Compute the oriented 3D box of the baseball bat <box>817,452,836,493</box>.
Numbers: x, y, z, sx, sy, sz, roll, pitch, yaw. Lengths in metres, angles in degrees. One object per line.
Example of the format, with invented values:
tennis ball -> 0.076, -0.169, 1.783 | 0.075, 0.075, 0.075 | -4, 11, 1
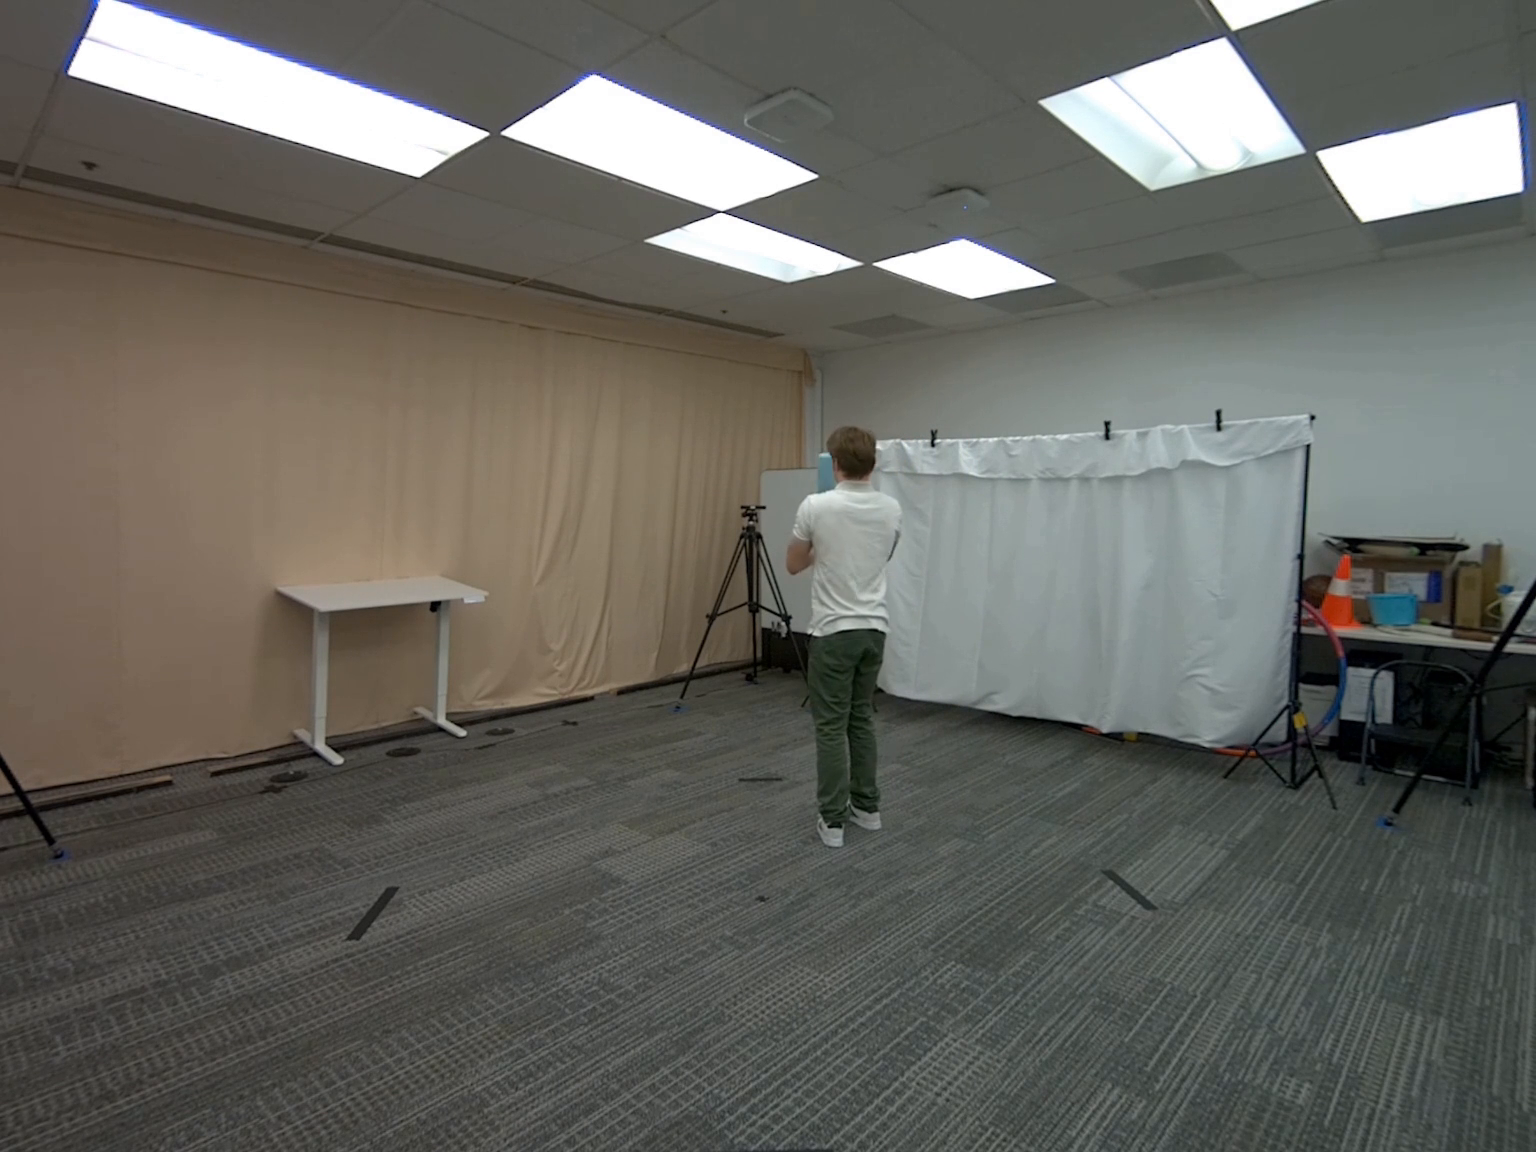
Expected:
baseball bat -> 0.276, -0.293, 3.939 | 0.089, 0.538, 0.090 | 0, 15, -2
